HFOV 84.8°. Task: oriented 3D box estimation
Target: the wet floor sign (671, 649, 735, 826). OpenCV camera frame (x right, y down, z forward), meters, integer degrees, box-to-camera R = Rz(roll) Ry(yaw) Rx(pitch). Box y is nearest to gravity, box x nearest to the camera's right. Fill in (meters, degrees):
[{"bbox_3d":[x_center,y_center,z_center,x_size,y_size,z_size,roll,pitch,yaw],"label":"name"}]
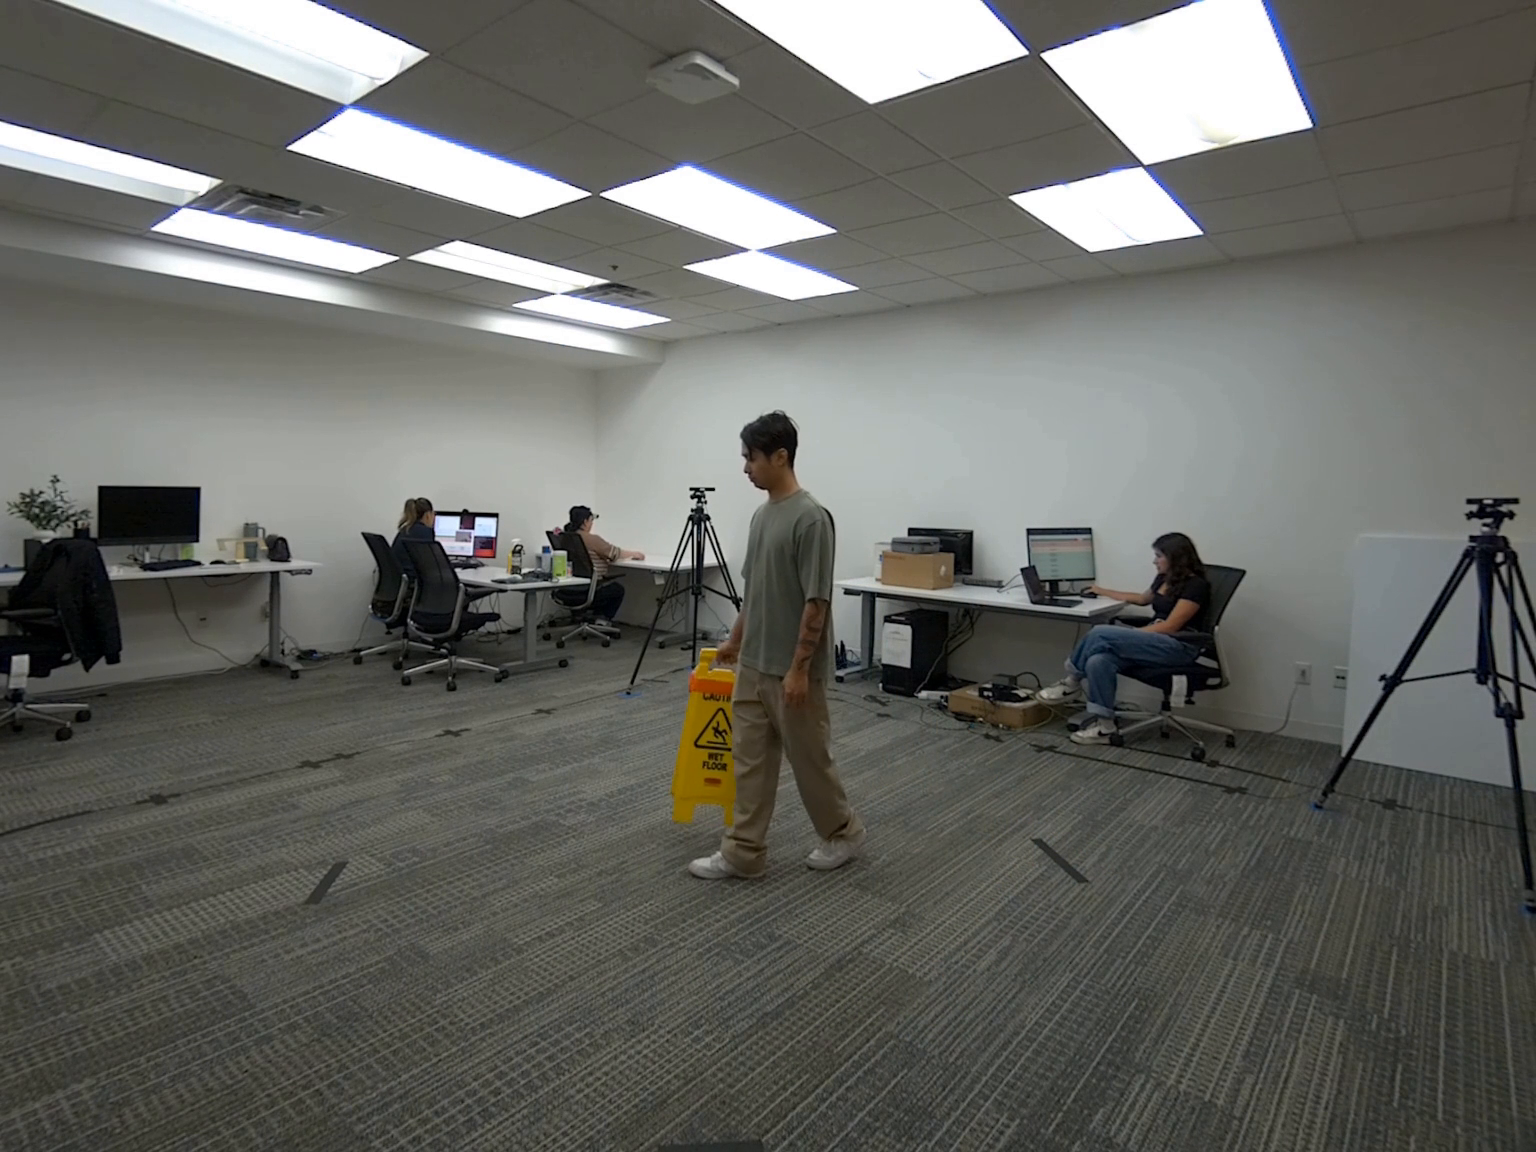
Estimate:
[{"bbox_3d":[-0.213,0.614,3.346,0.281,0.643,0.293,6,6,-6],"label":"wet floor sign"}]
